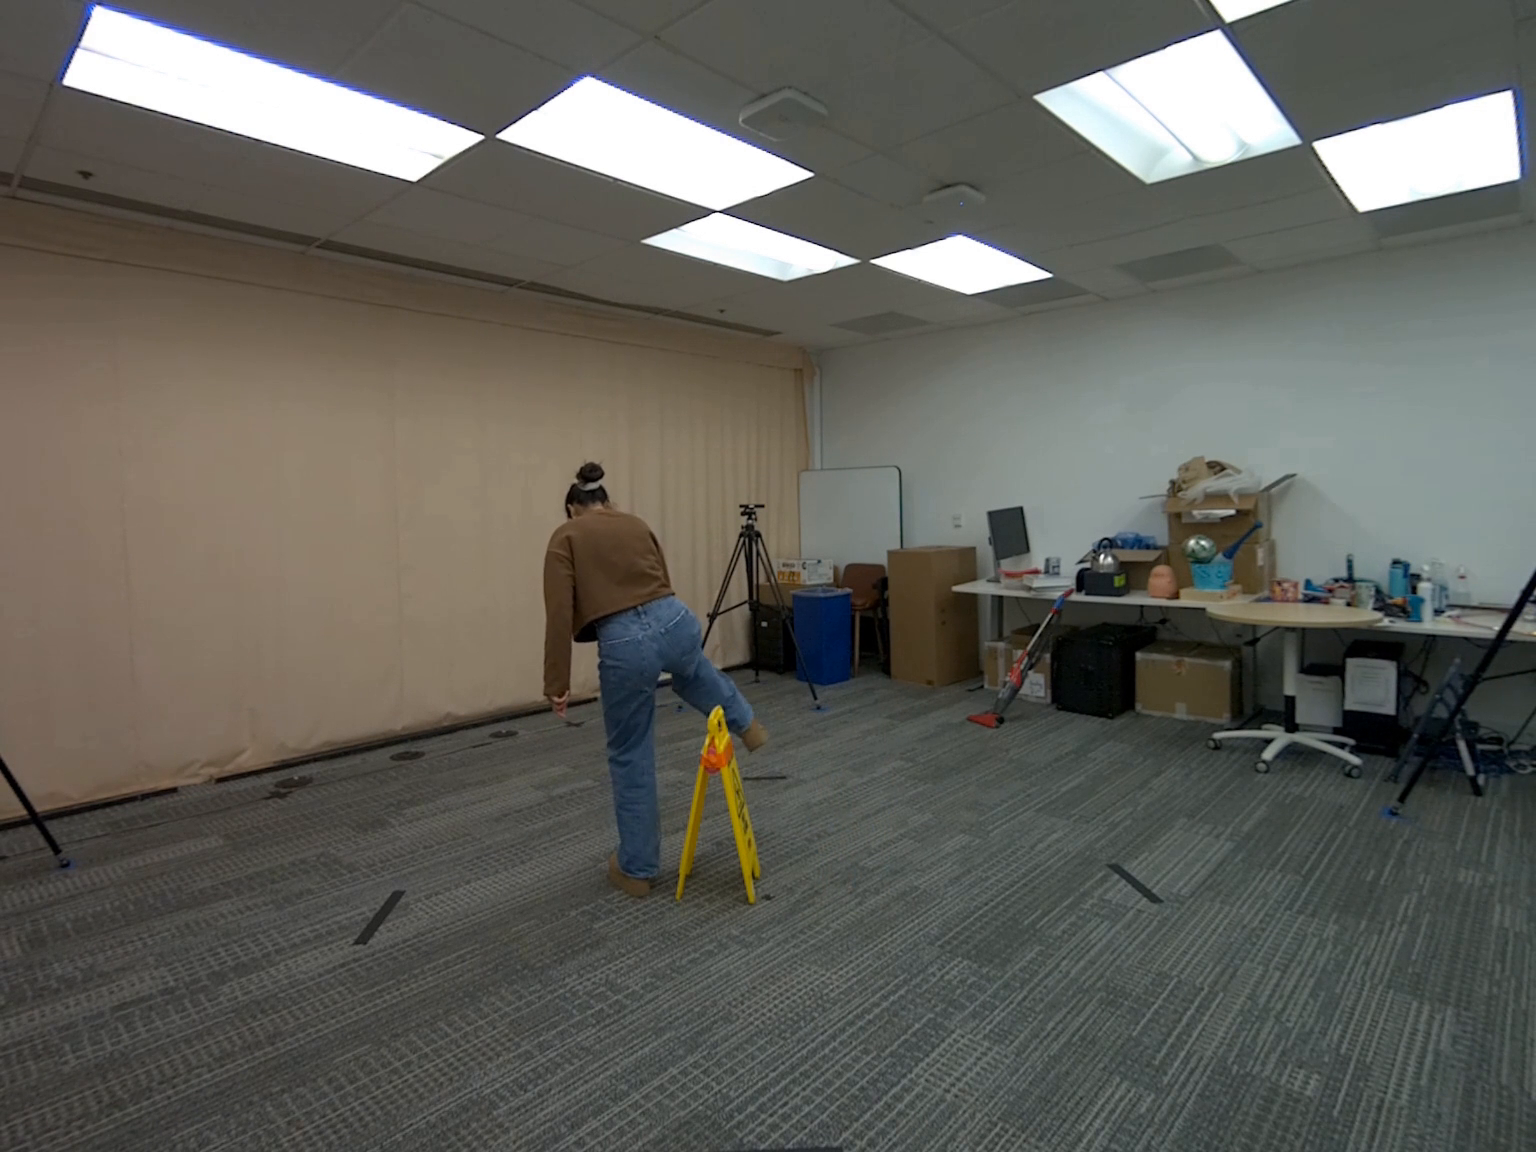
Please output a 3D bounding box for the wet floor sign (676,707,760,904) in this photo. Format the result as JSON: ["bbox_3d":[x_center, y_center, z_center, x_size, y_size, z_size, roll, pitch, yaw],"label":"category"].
[{"bbox_3d":[-0.186,0.819,3.061,0.292,0.645,0.280,-1,2,7],"label":"wet floor sign"}]
